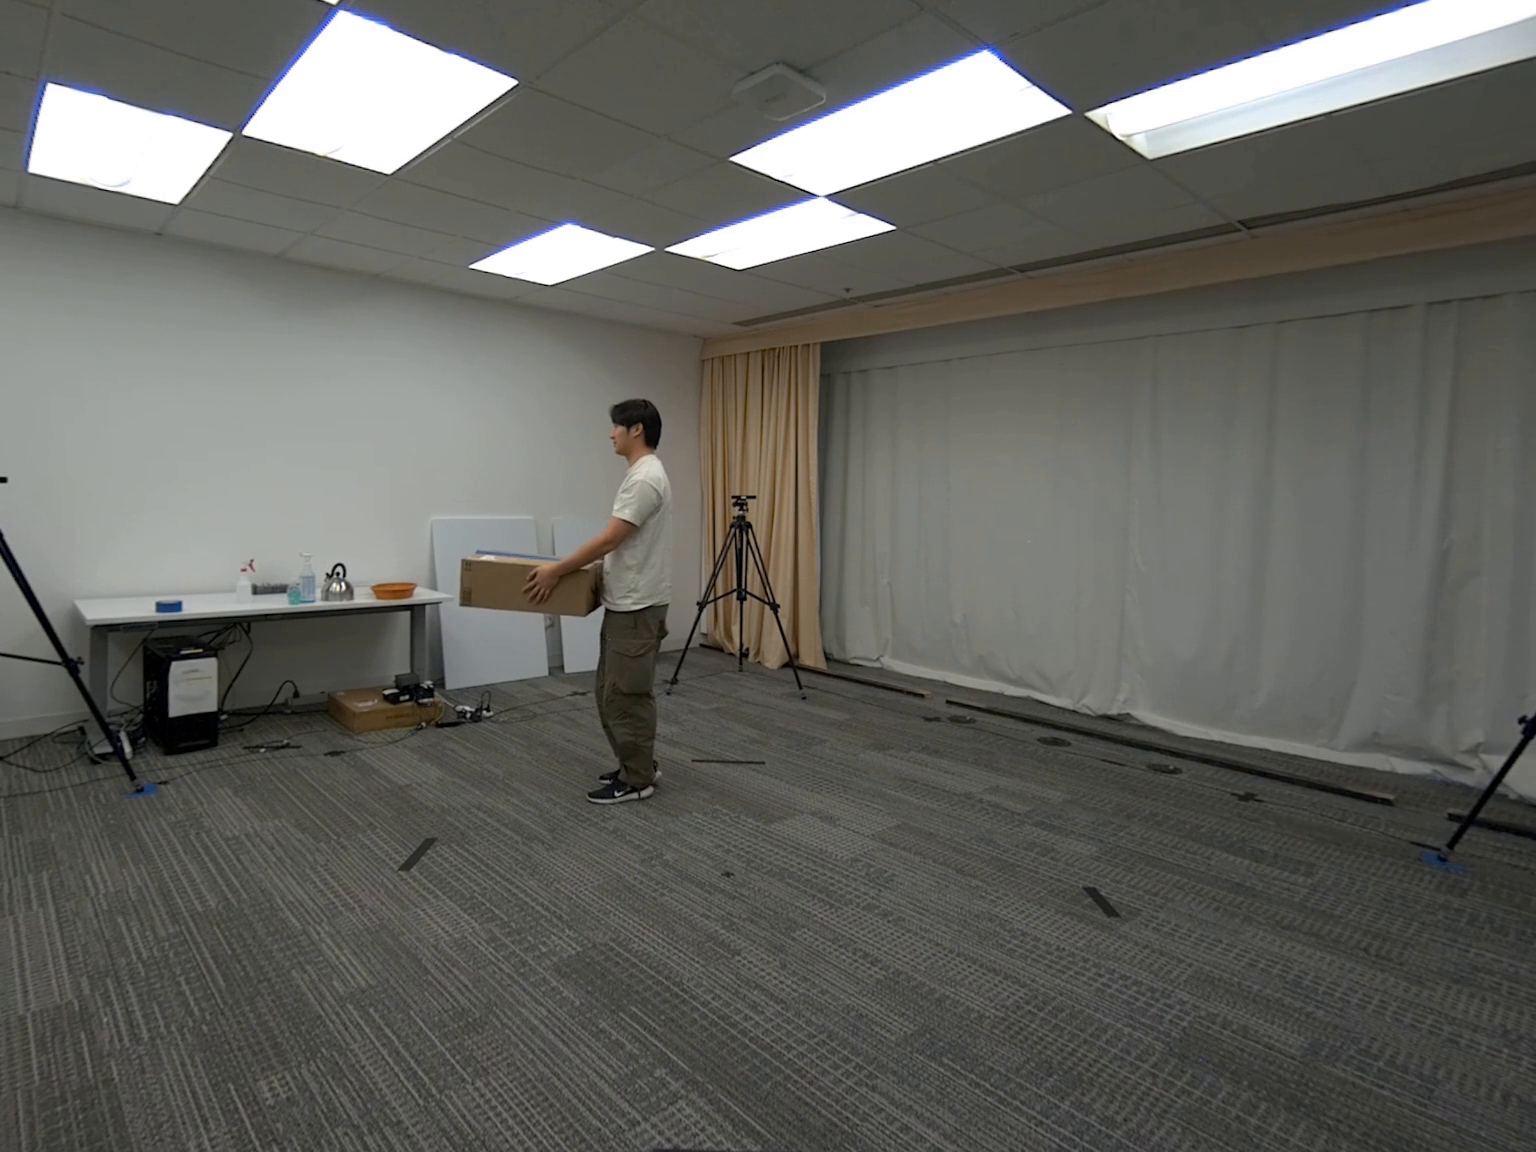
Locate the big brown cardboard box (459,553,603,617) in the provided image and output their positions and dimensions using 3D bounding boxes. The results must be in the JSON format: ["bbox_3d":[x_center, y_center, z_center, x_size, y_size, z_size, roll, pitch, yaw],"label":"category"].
[{"bbox_3d":[-1.073,0.025,3.896,0.590,0.232,0.419,6,7,1],"label":"big brown cardboard box"}]
